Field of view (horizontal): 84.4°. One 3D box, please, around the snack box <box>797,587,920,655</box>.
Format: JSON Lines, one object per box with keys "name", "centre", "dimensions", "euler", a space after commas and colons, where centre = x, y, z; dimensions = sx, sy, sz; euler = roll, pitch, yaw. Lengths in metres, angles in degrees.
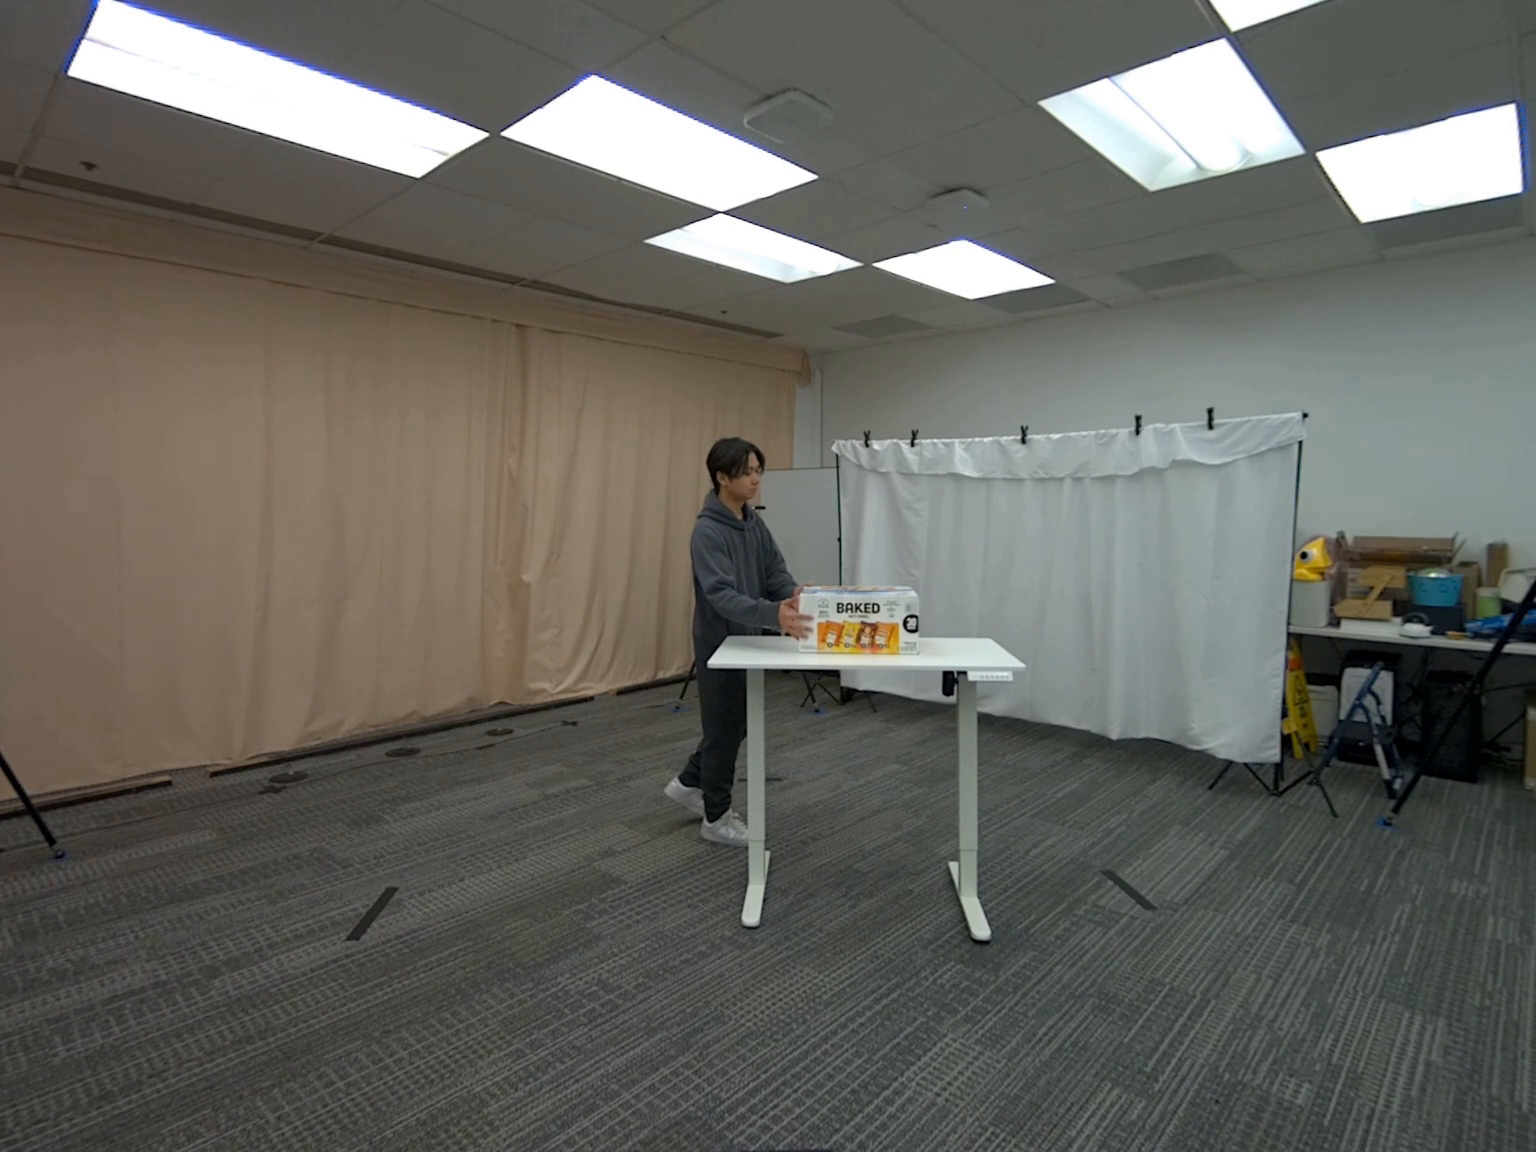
{"name": "snack box", "centre": [0.332, 0.154, 3.040], "dimensions": [0.409, 0.205, 0.338], "euler": [0, 4, 8]}
